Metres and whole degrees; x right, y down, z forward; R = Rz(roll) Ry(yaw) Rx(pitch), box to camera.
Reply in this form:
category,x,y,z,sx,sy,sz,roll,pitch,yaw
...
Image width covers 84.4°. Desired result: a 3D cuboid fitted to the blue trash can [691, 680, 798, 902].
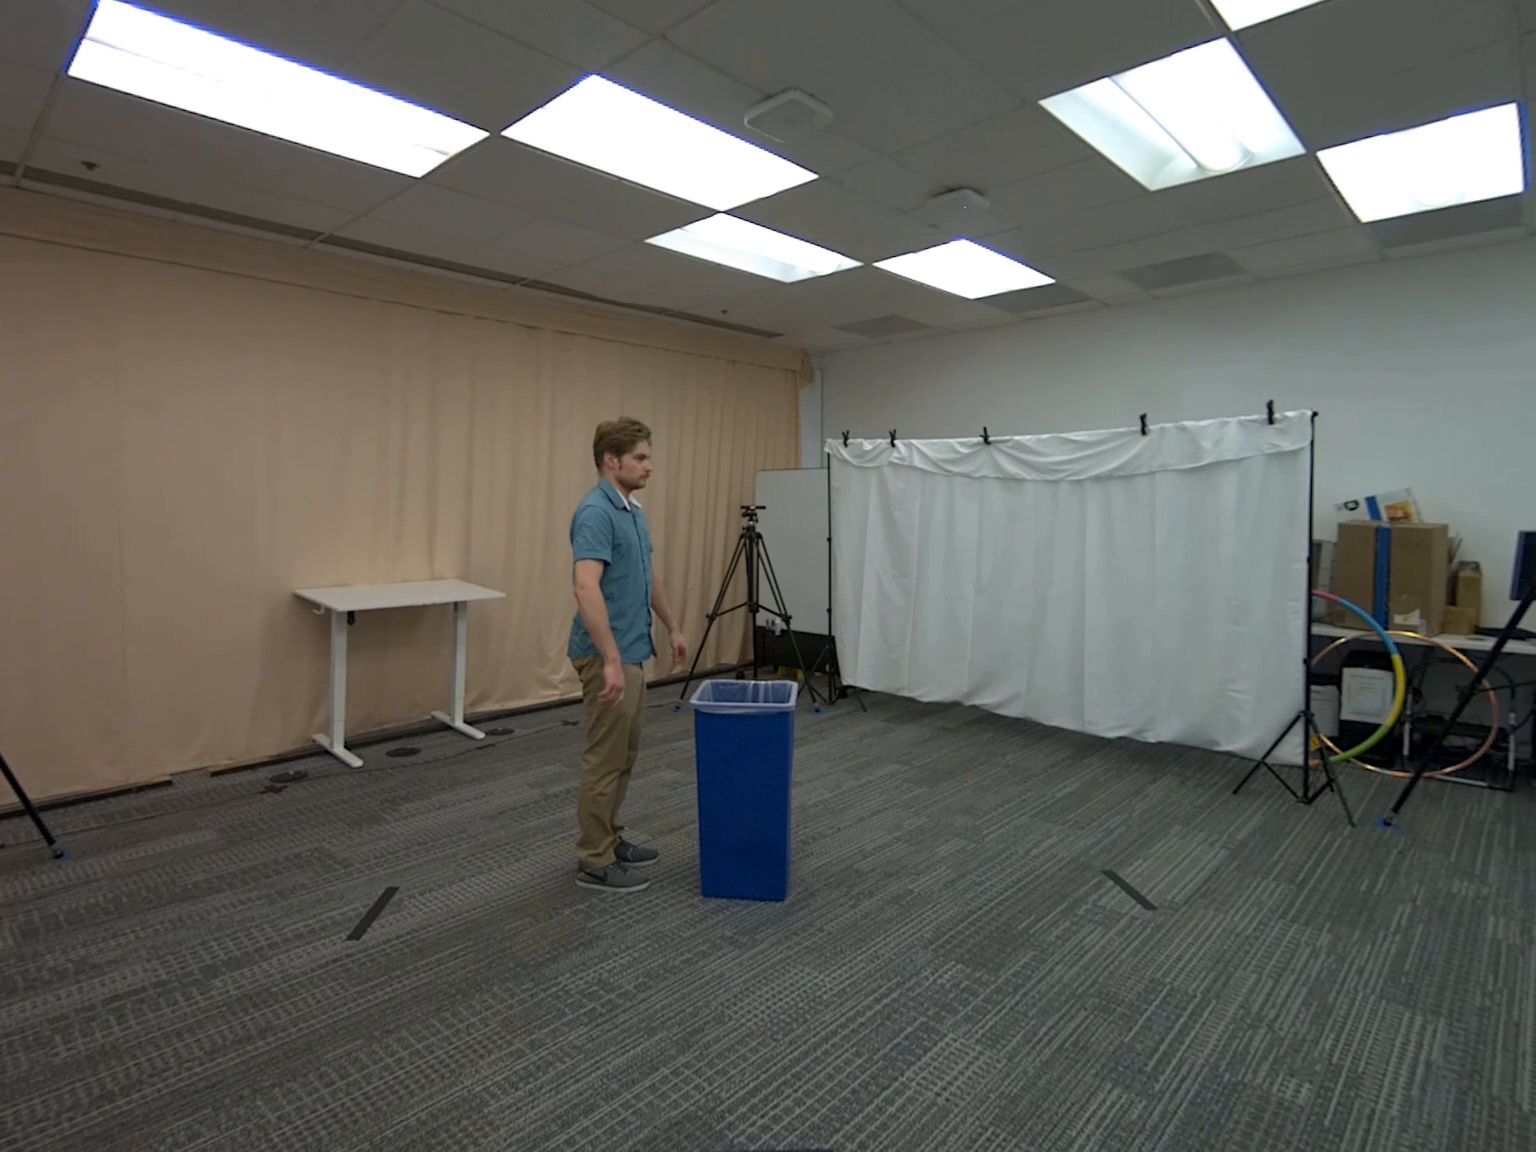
category,x,y,z,sx,sy,sz,roll,pitch,yaw
blue trash can,-0.086,0.776,3.095,0.377,0.712,0.376,1,4,5
